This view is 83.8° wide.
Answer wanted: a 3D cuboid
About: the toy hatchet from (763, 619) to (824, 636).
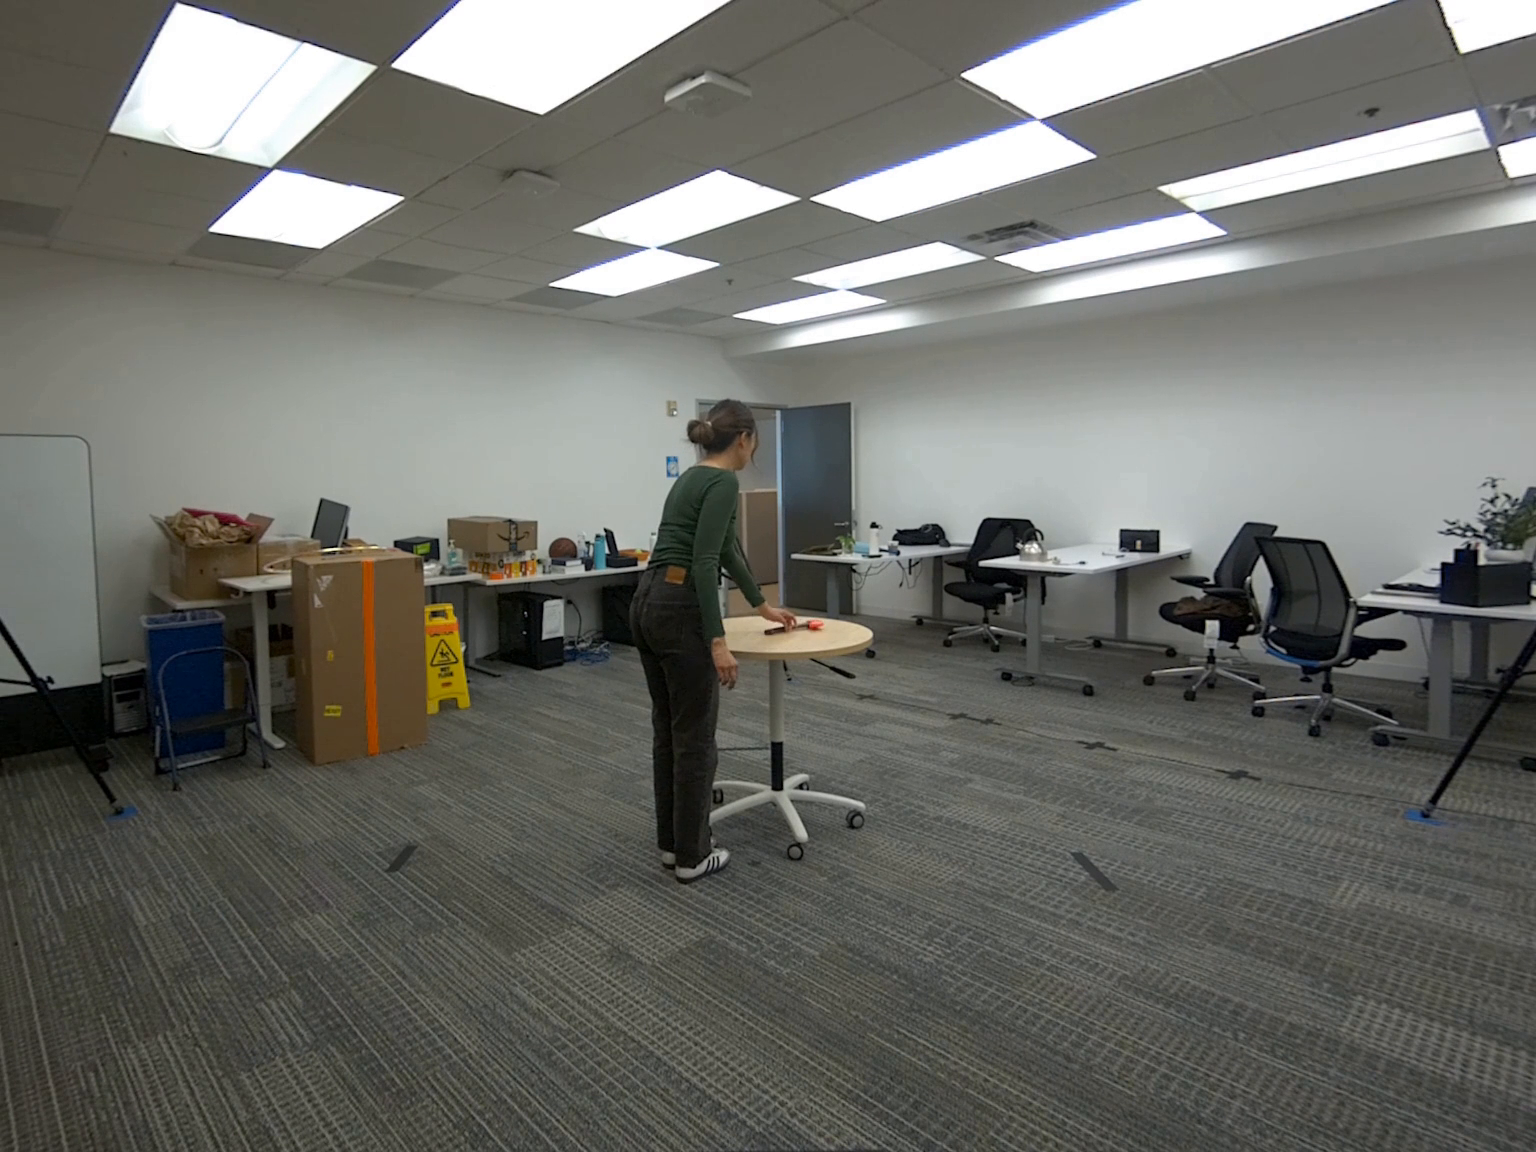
[{"bbox_3d":[0.121,0.206,3.426,0.134,0.029,0.263,-4,4,43],"label":"toy hatchet"}]
